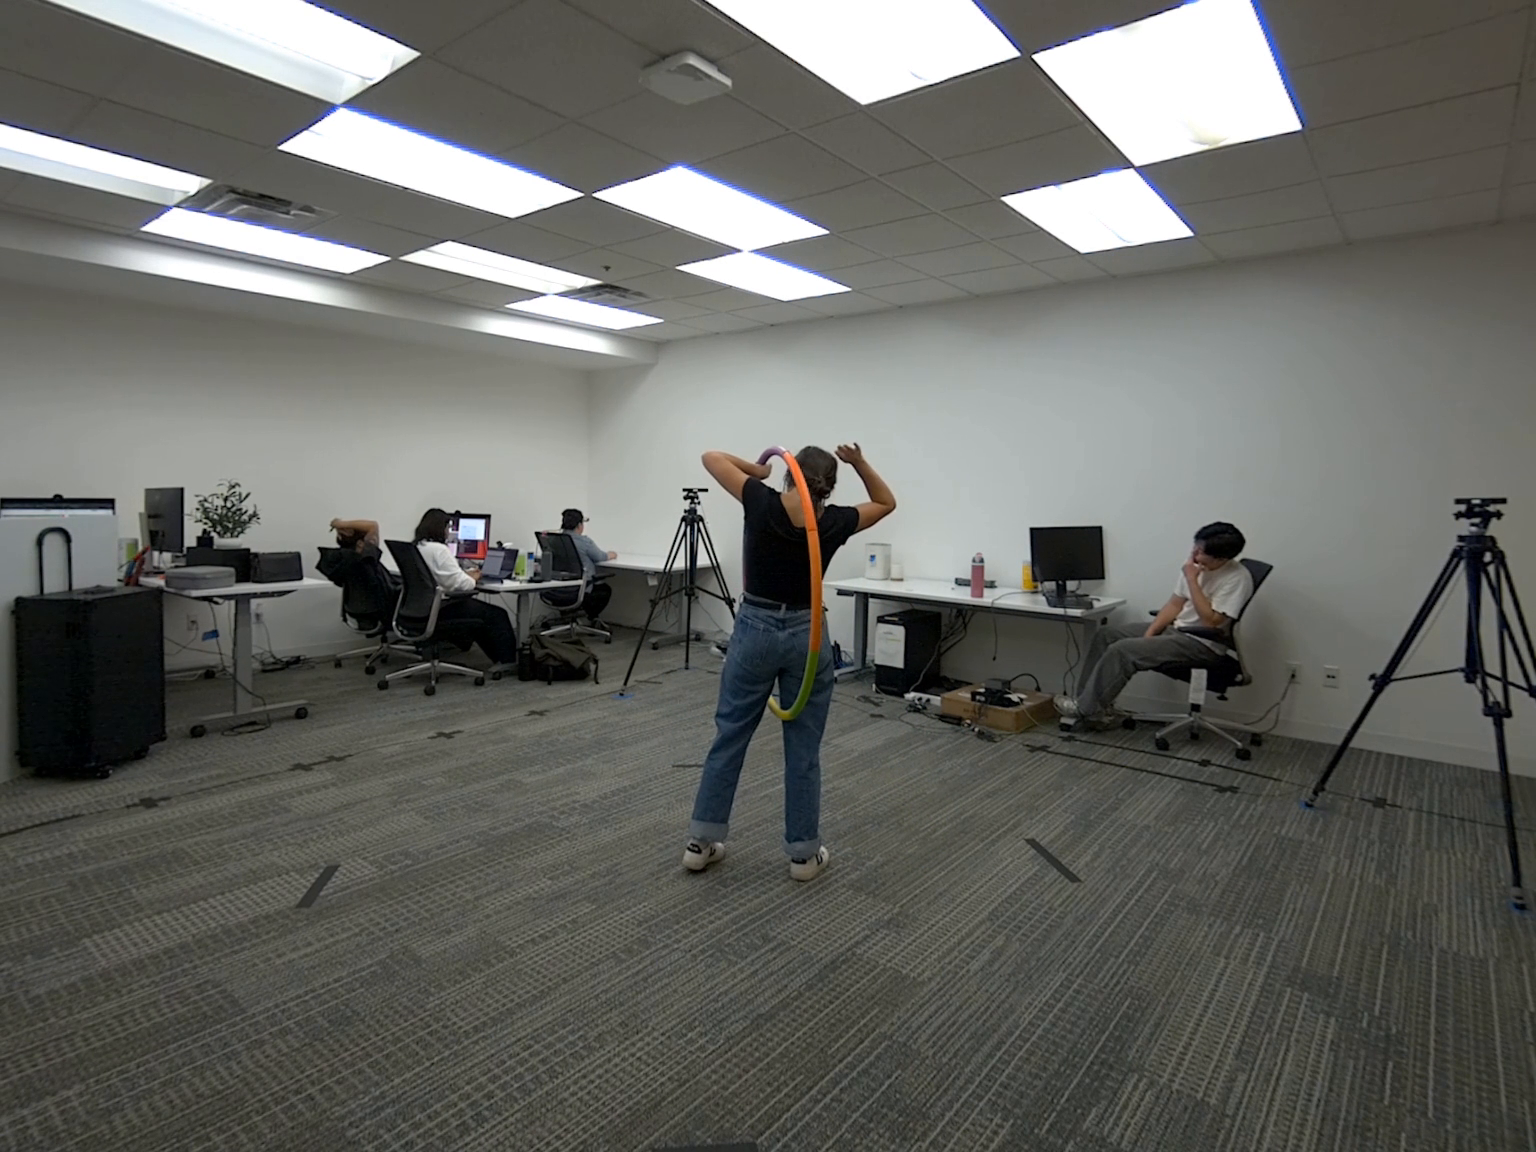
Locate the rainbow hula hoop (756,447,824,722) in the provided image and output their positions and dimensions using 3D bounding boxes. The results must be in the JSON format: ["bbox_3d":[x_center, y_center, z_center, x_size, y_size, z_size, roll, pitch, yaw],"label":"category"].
[{"bbox_3d":[0.033,0.007,3.114,0.035,0.975,0.994,-1,4,-13],"label":"rainbow hula hoop"}]
